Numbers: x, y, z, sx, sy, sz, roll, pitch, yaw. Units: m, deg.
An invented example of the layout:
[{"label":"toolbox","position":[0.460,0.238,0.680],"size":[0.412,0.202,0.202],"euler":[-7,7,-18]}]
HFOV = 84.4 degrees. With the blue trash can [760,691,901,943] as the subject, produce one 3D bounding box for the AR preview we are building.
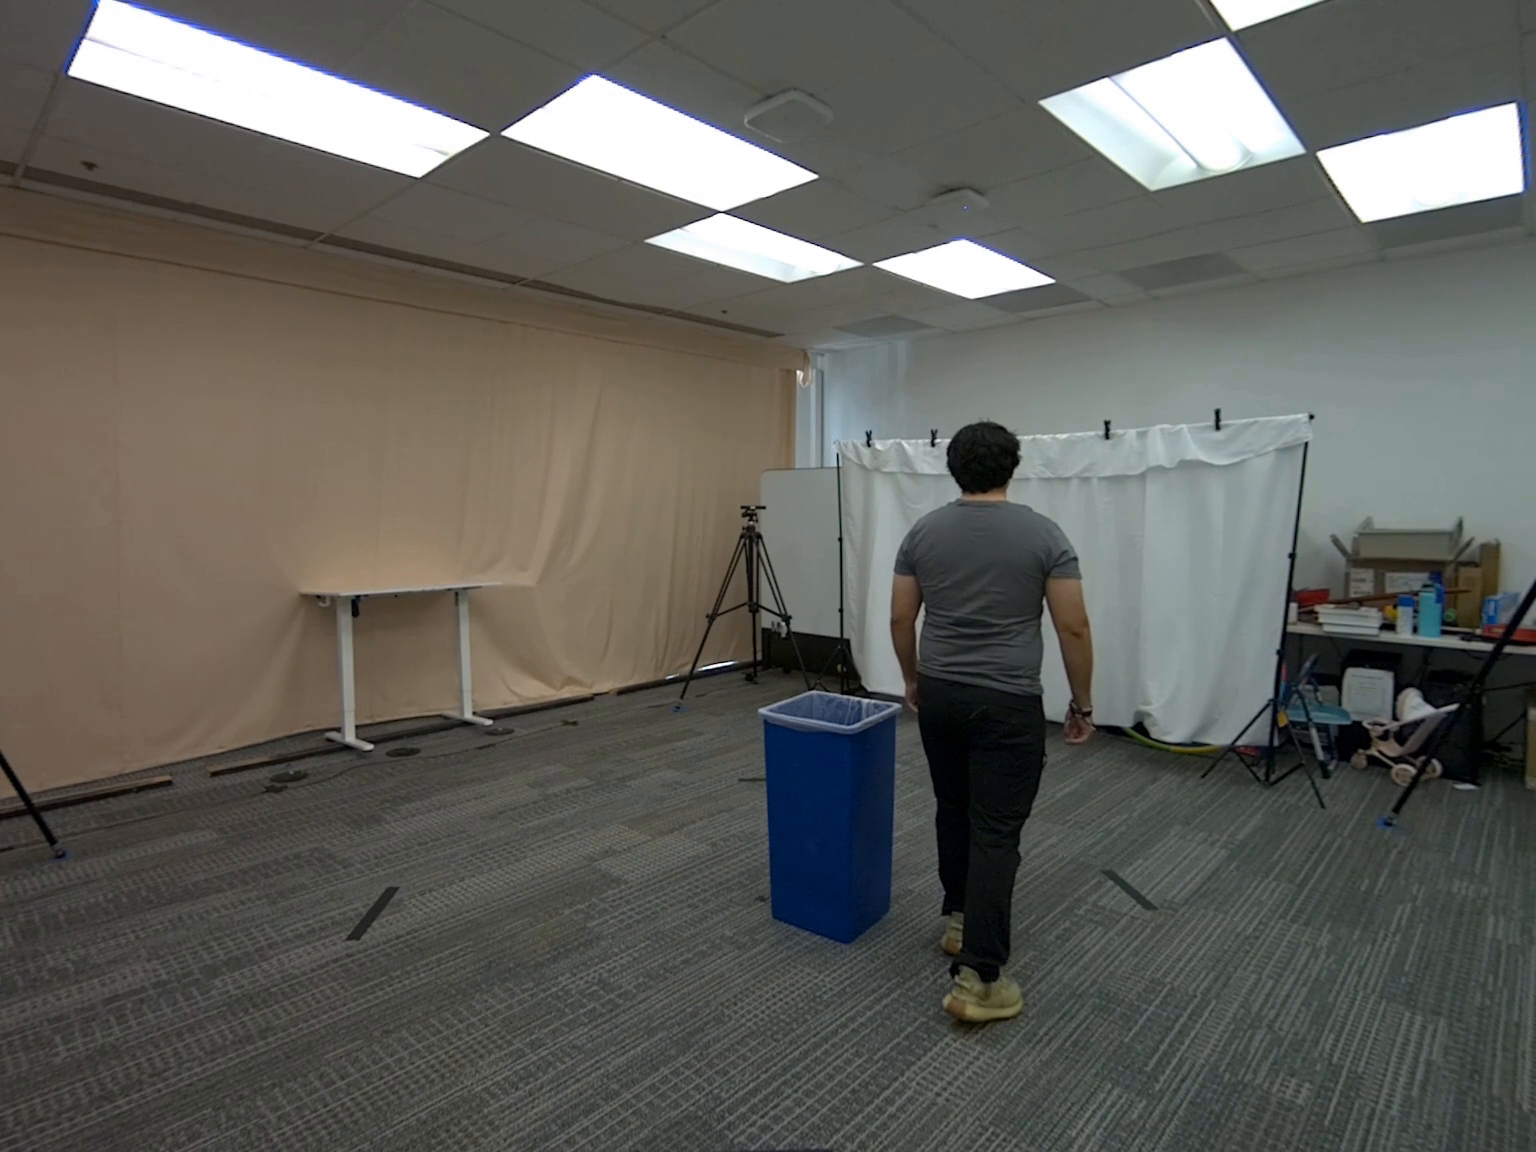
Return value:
[{"label":"blue trash can","position":[0.213,0.797,2.849],"size":[0.390,0.712,0.363],"euler":[2,4,37]}]
